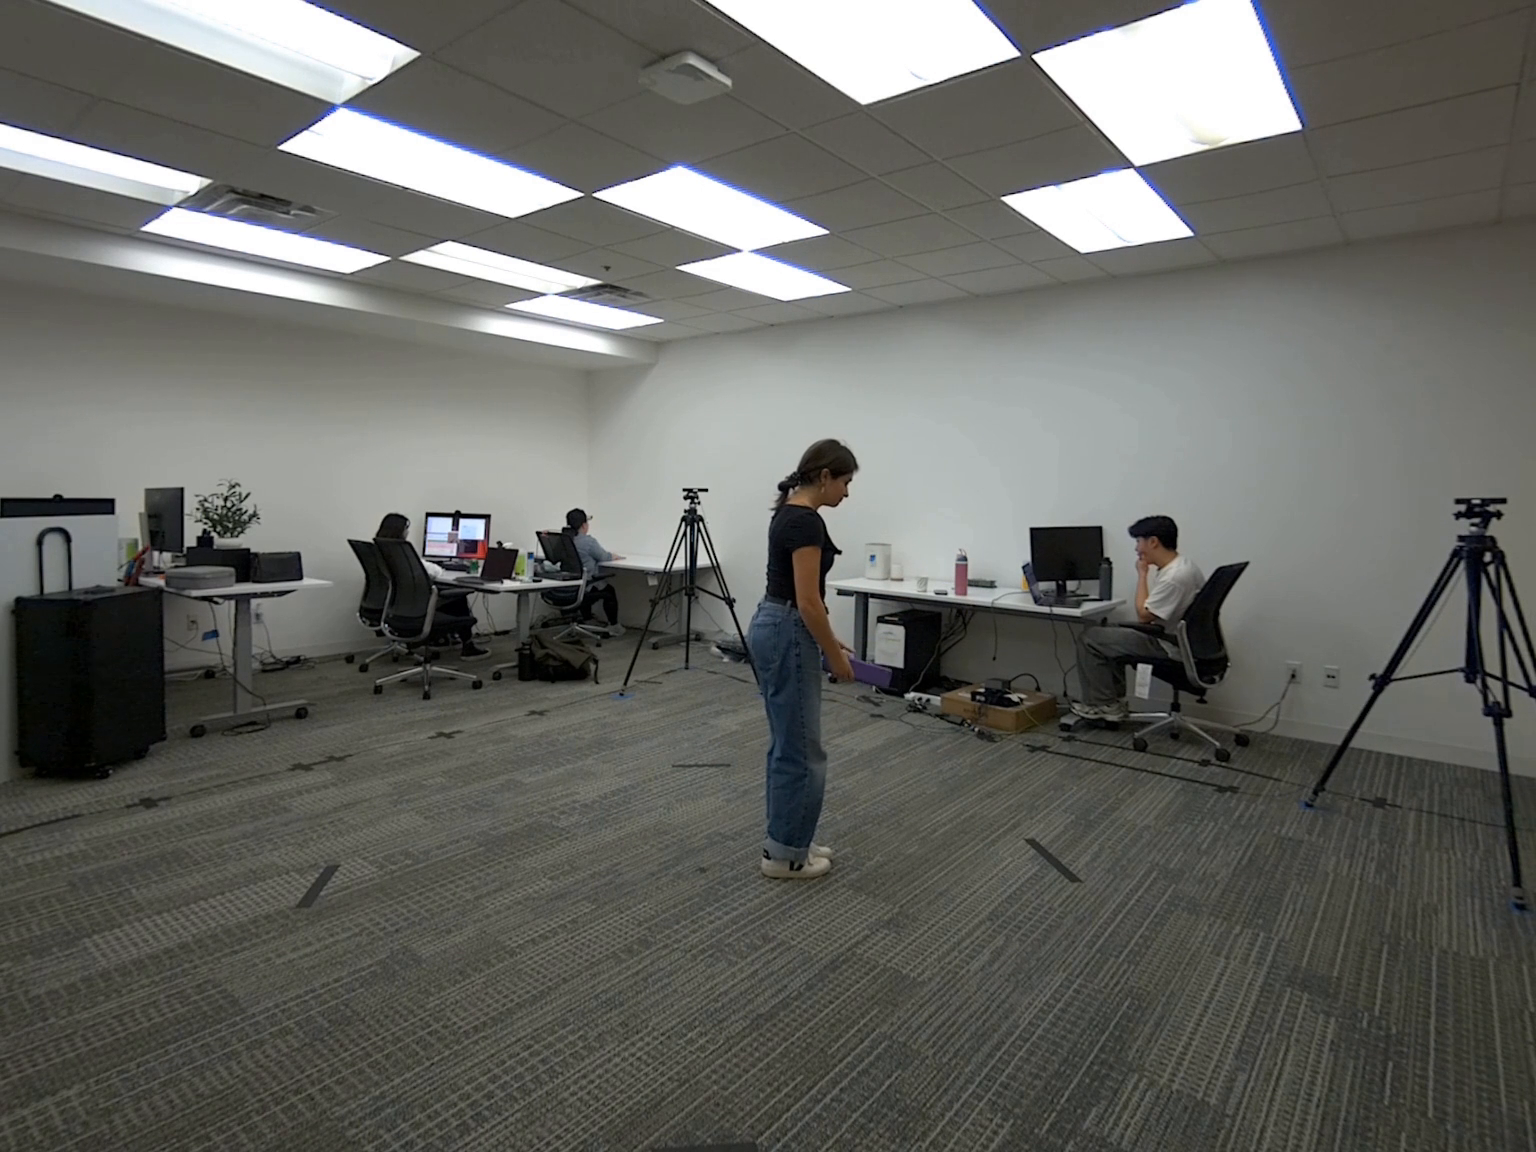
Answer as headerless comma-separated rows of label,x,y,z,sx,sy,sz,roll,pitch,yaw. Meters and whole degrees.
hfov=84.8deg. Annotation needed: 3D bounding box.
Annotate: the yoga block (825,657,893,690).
yoga block,0.325,0.350,3.161,0.227,0.077,0.150,16,-4,-7
